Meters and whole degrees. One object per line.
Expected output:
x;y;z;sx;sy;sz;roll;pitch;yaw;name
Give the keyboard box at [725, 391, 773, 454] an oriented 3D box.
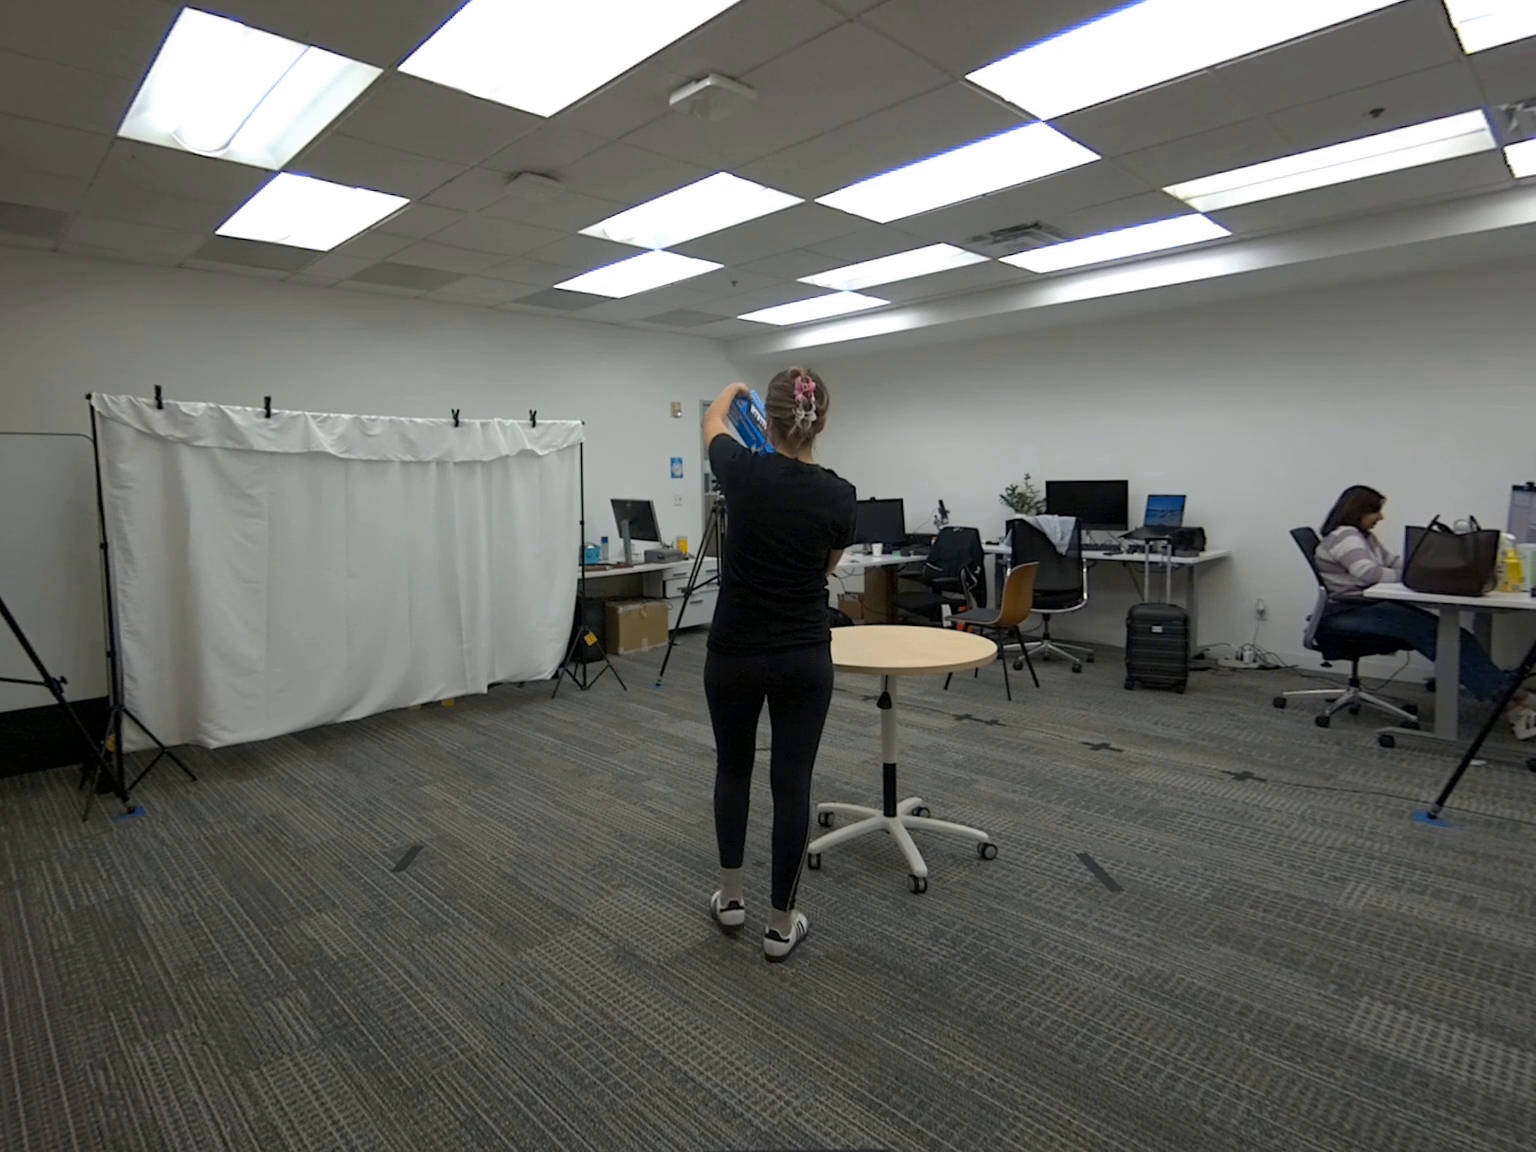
0.019;-0.440;3.000;0.059;0.435;0.175;-32;3;32;keyboard box
